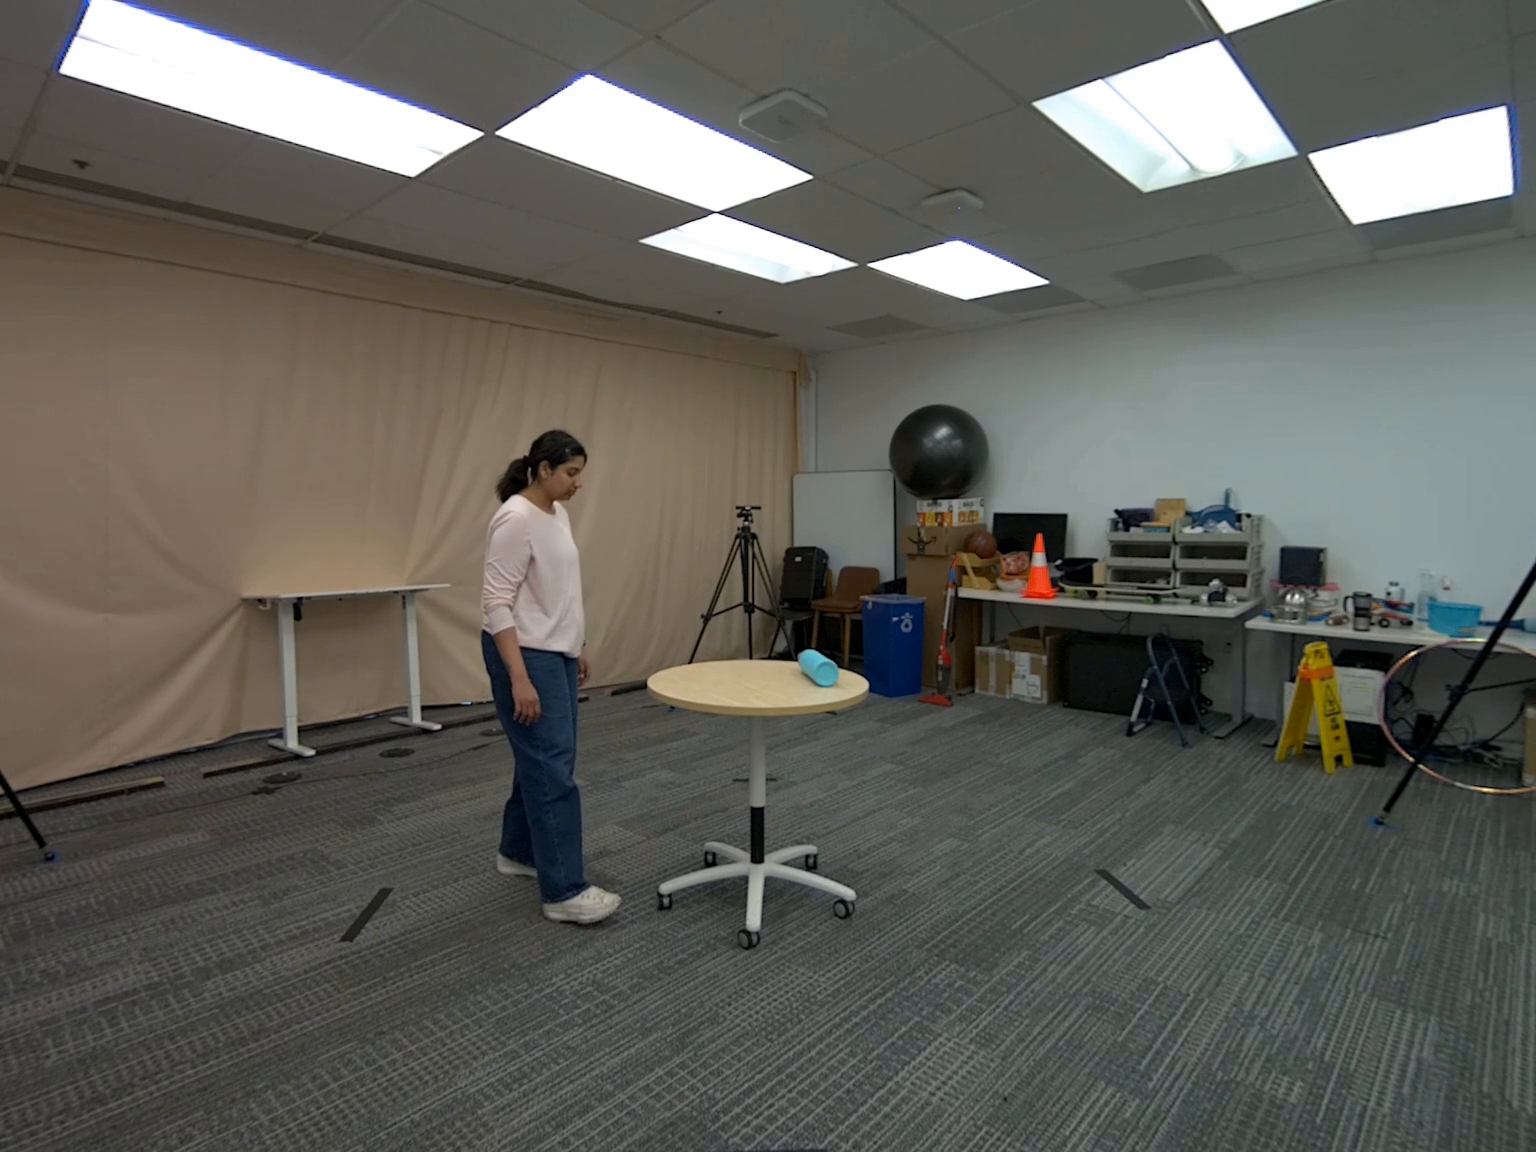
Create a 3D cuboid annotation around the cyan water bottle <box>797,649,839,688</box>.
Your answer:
[{"bbox_3d":[0.173,0.321,2.958,0.091,0.092,0.286,-1,5,-8],"label":"cyan water bottle"}]
